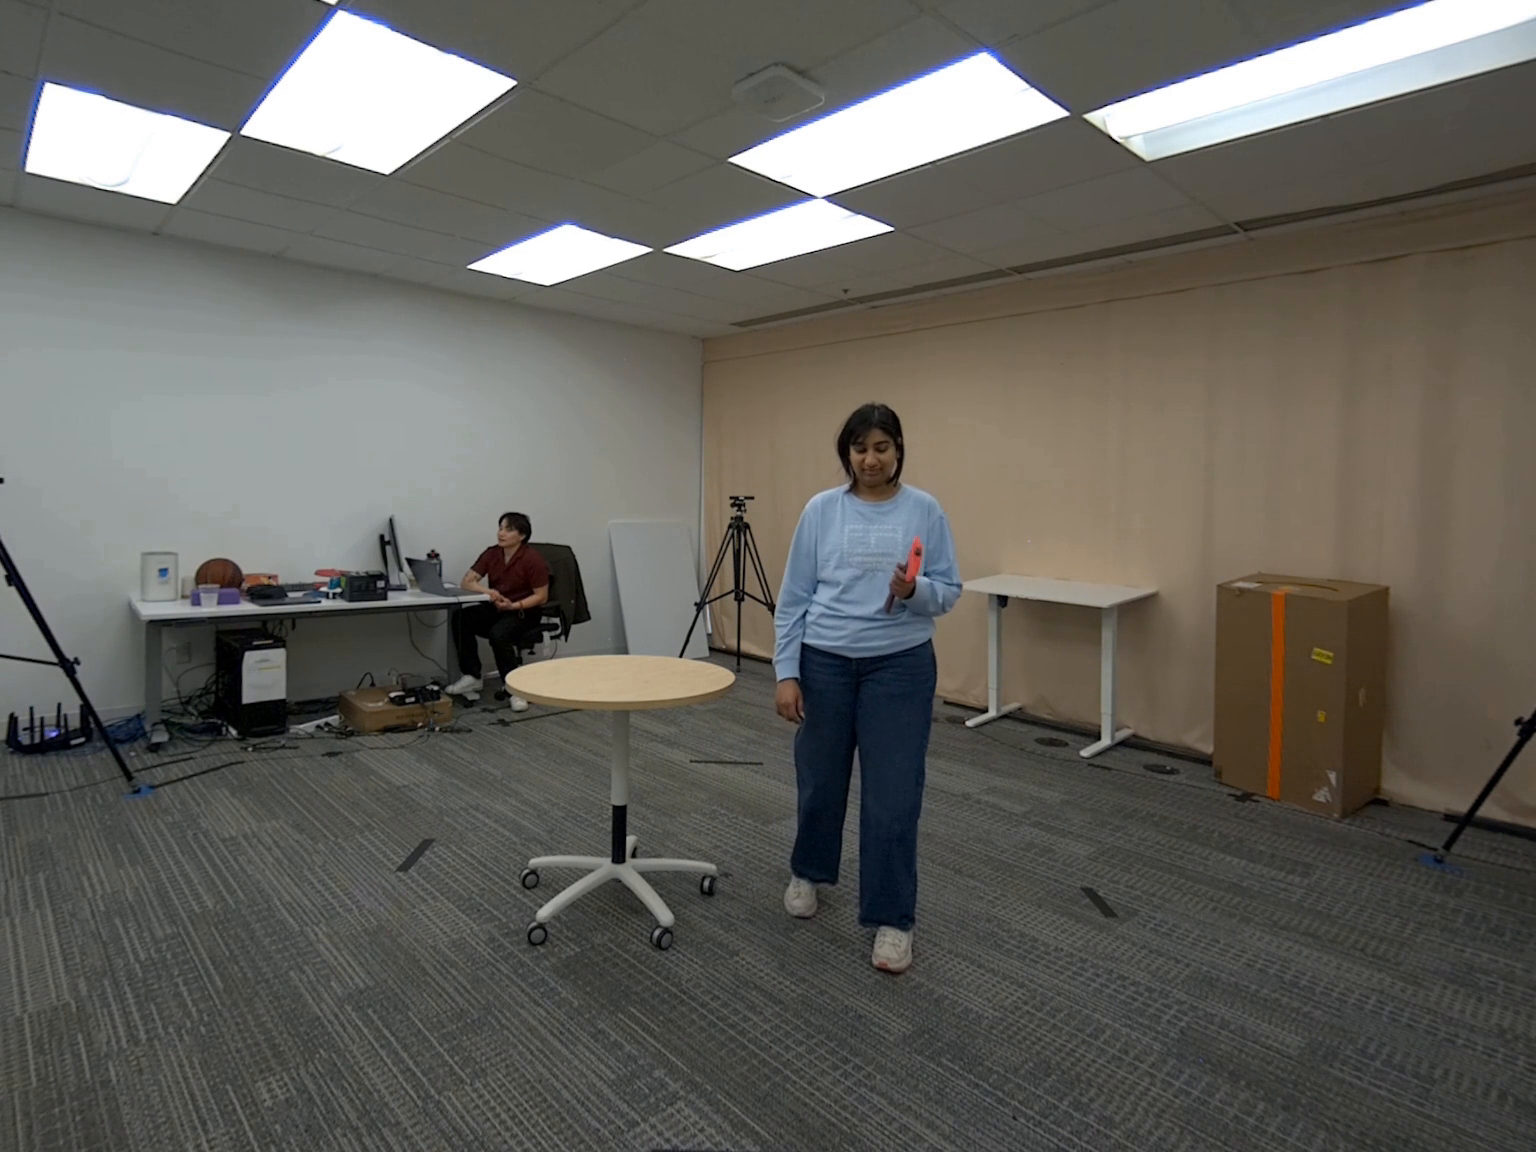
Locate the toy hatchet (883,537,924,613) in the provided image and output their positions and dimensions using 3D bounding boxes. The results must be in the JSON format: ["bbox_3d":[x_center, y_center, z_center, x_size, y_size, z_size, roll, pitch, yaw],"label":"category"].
[{"bbox_3d":[0.359,0.026,2.337,0.029,0.265,0.133,8,38,-4],"label":"toy hatchet"}]
